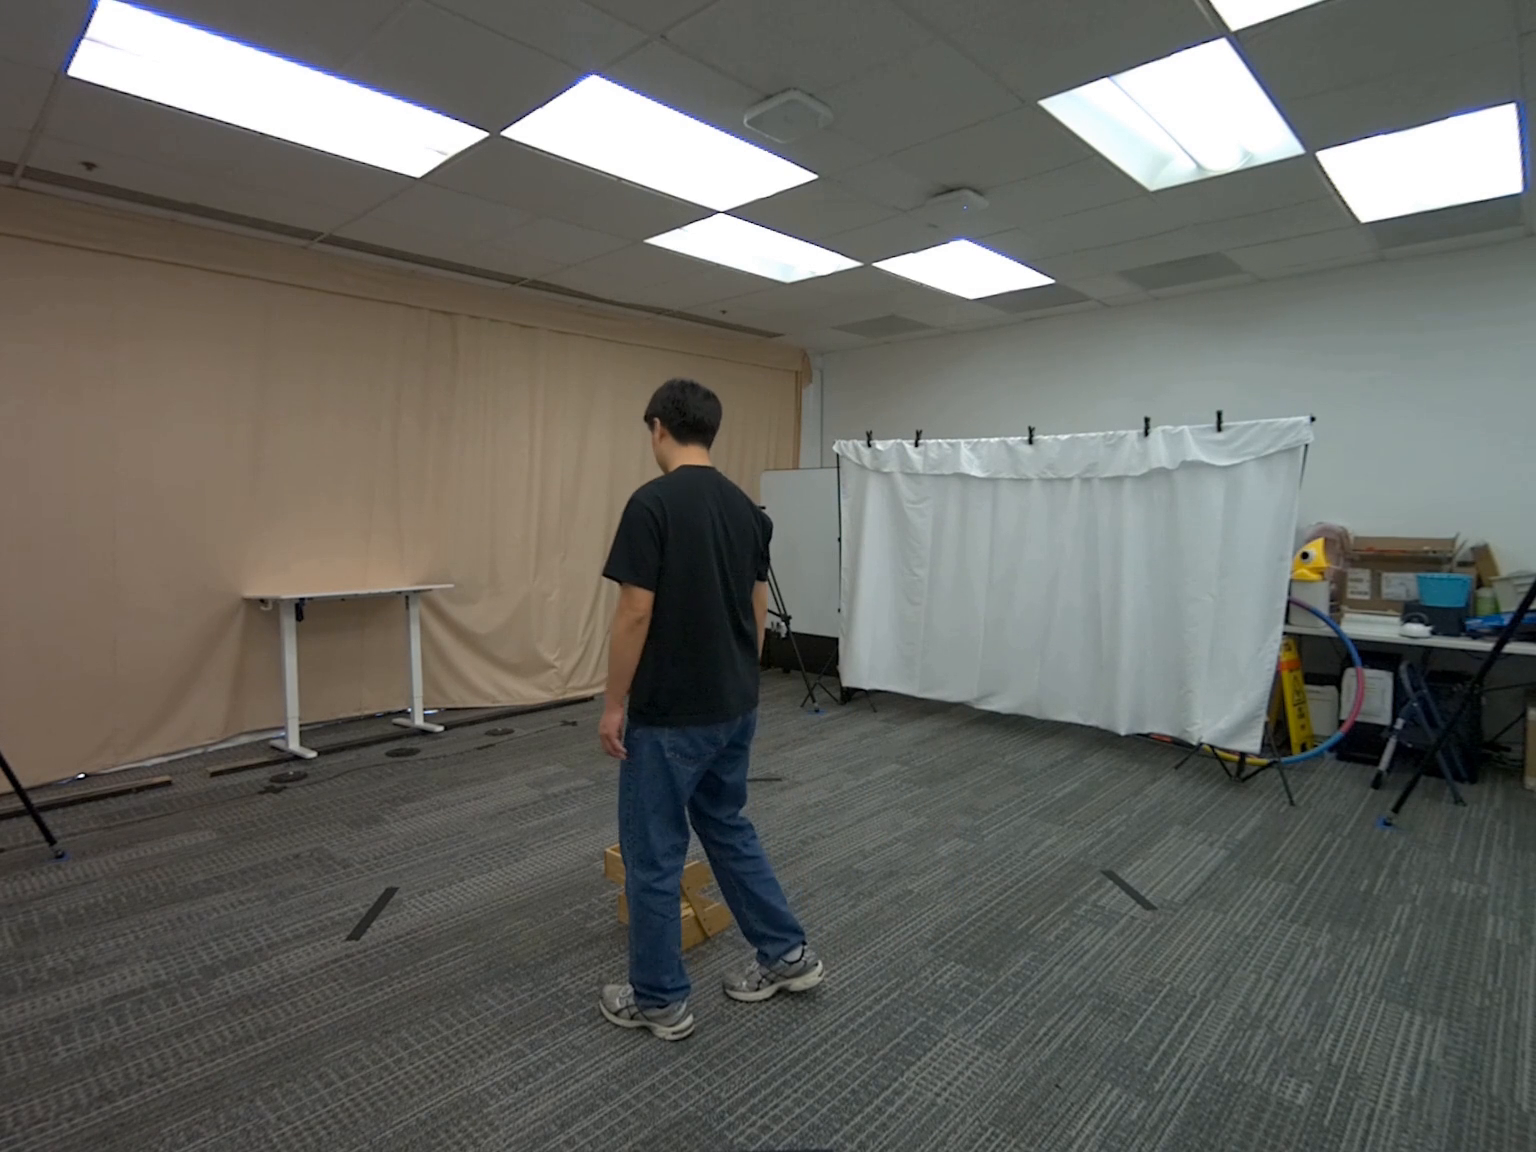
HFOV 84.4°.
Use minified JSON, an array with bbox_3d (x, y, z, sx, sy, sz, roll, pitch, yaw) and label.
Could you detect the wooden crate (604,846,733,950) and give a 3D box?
[{"bbox_3d":[-0.328,1.031,2.791,0.335,0.272,0.293,3,6,42],"label":"wooden crate"}]
